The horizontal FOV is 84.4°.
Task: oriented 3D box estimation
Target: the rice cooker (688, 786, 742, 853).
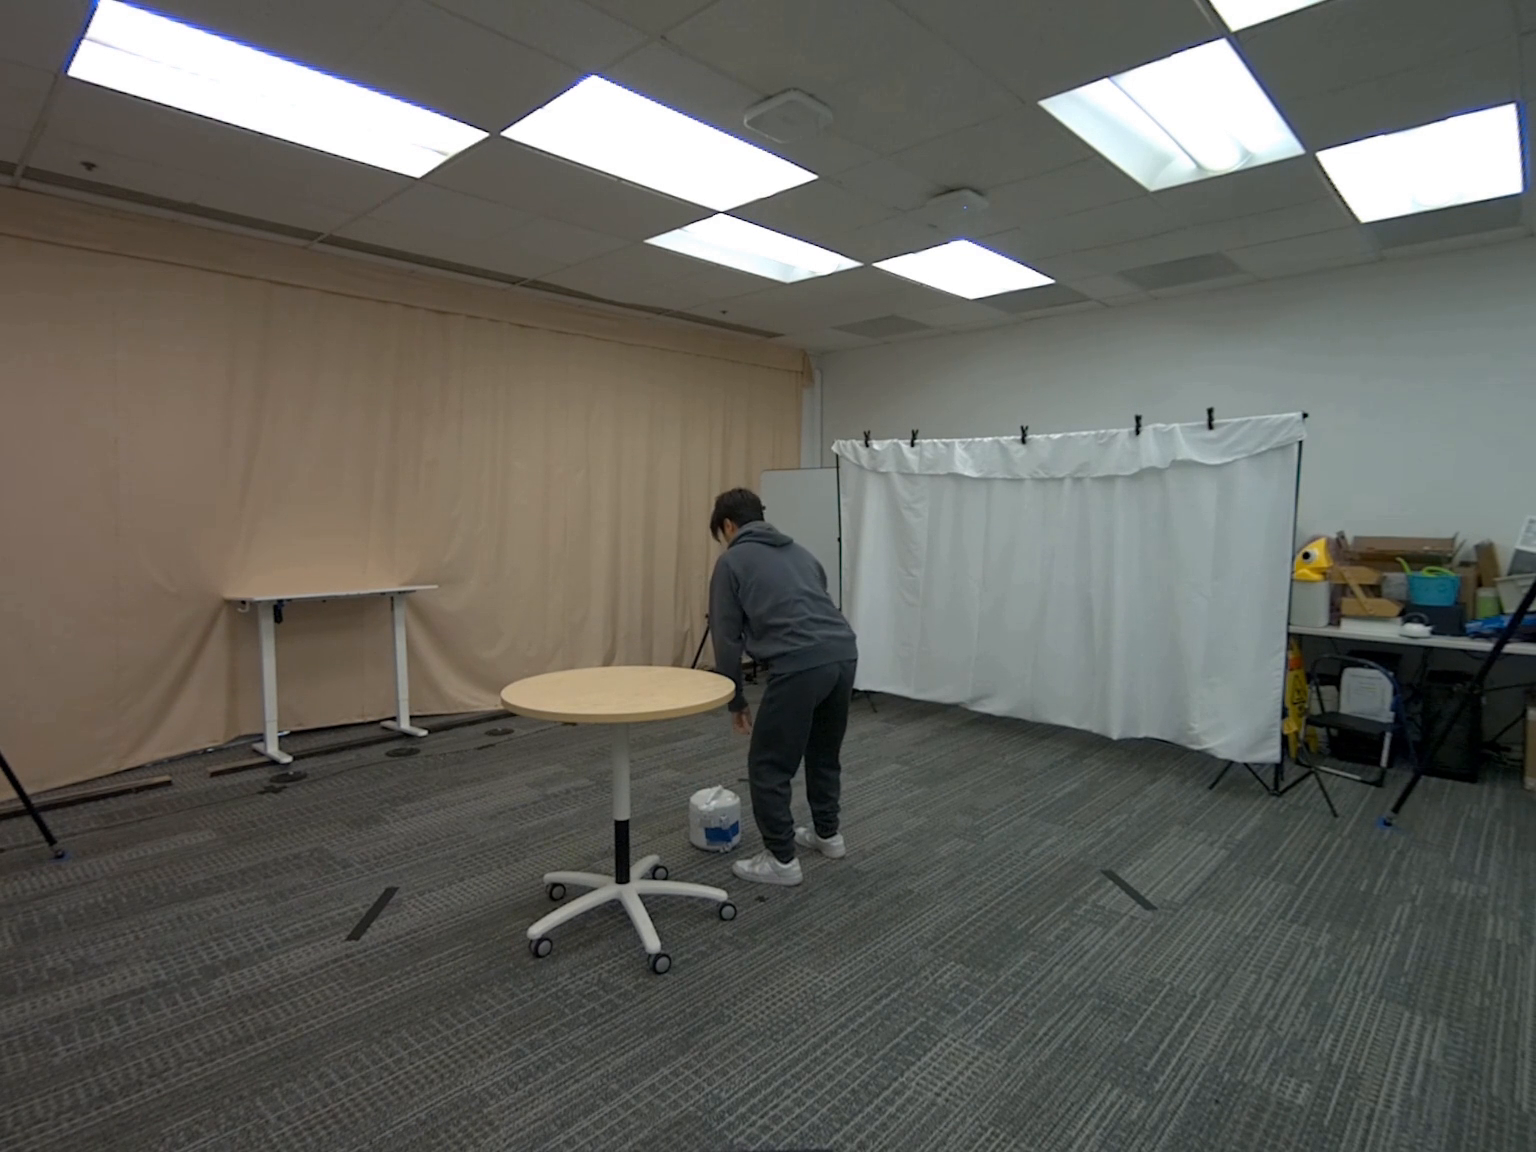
[{"bbox_3d":[-0.221,0.993,3.469,0.222,0.232,0.216,1,4,20],"label":"rice cooker"}]
